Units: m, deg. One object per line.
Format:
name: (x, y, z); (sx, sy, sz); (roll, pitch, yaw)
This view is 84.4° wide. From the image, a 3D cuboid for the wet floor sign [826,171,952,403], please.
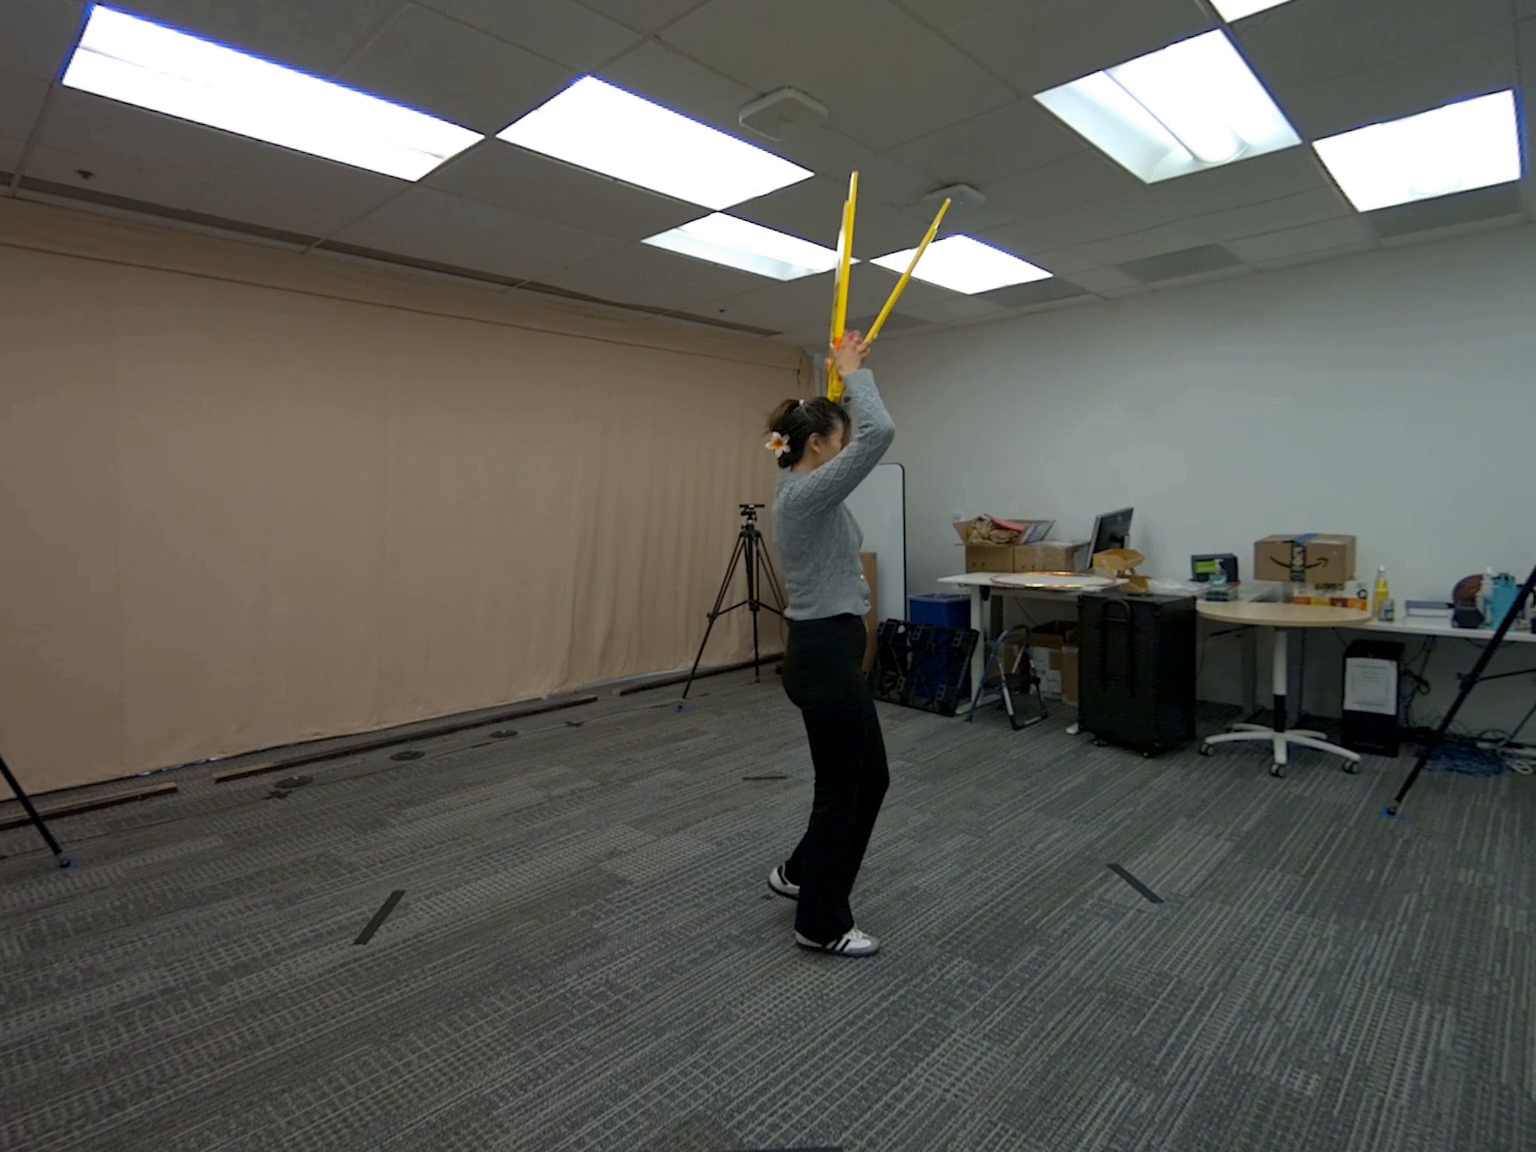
wet floor sign: (0.300, -0.840, 2.587); (0.291, 0.646, 0.281); (18, 1, 1)
